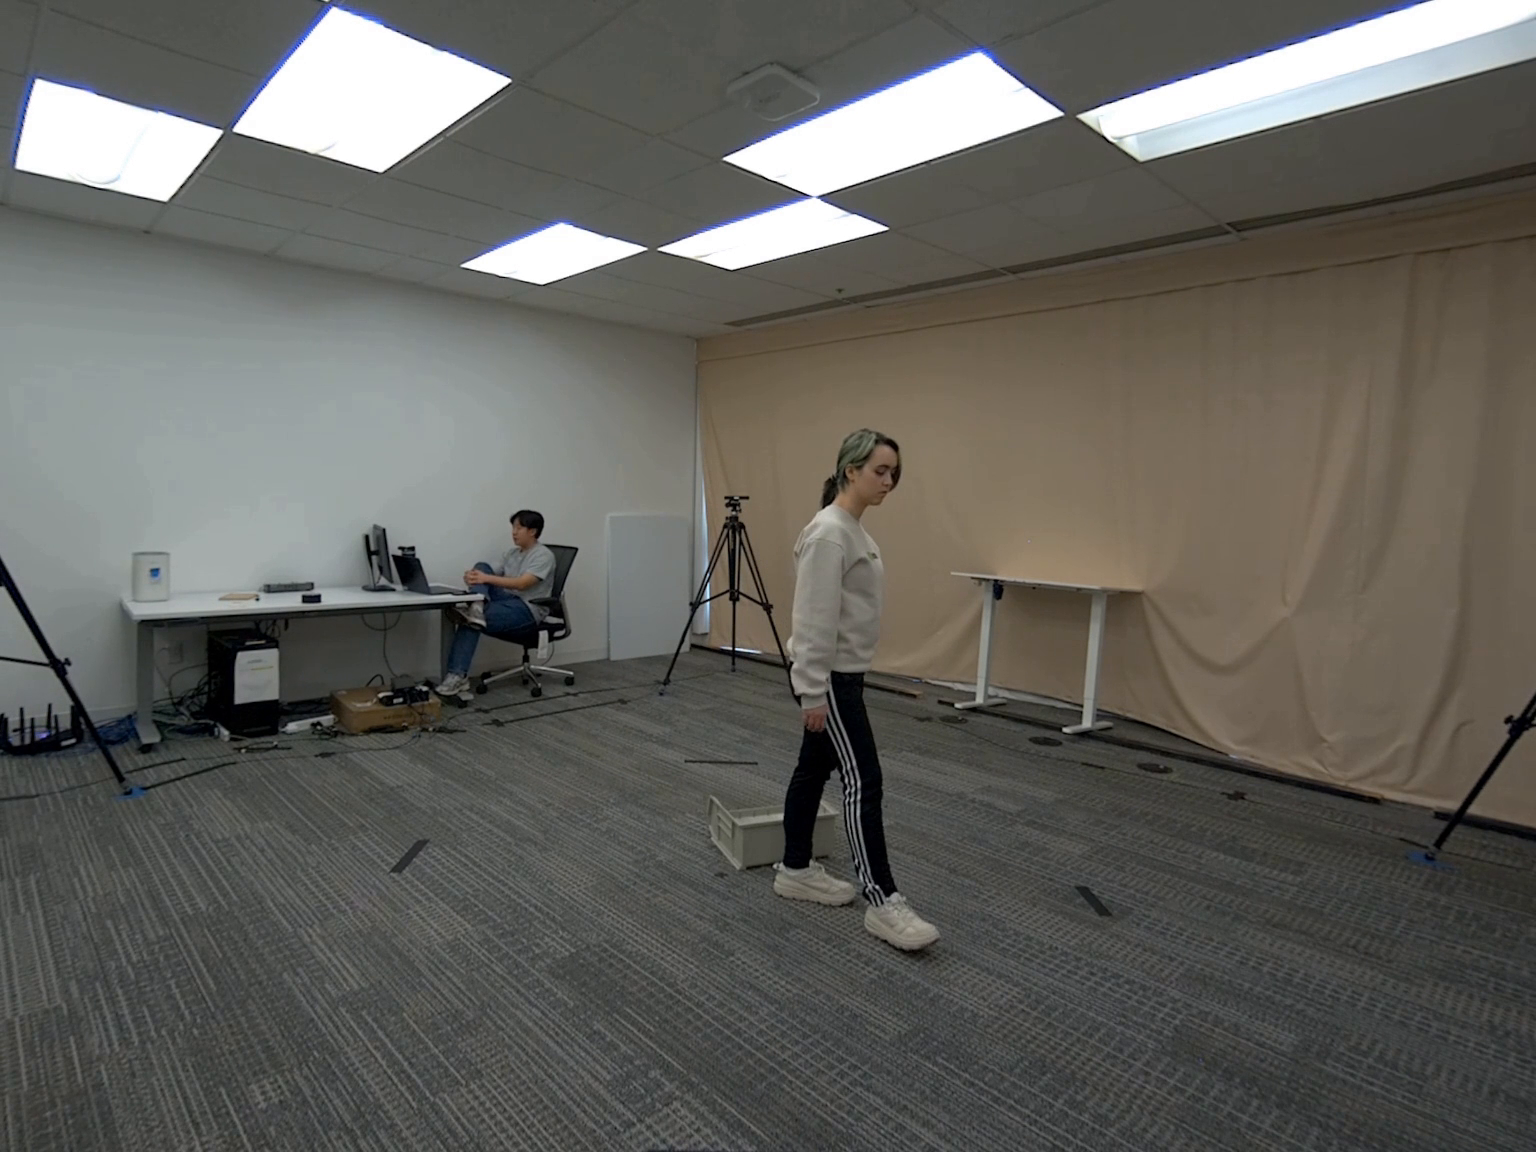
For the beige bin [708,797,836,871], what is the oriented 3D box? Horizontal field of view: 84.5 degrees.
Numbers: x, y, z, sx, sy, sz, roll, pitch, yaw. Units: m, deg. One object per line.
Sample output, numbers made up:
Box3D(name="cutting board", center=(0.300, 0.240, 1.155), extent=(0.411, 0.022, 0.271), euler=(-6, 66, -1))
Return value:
Box3D(name="beige bin", center=(0.003, 0.996, 3.373), extent=(0.415, 0.188, 0.384), euler=(0, 5, -22))
